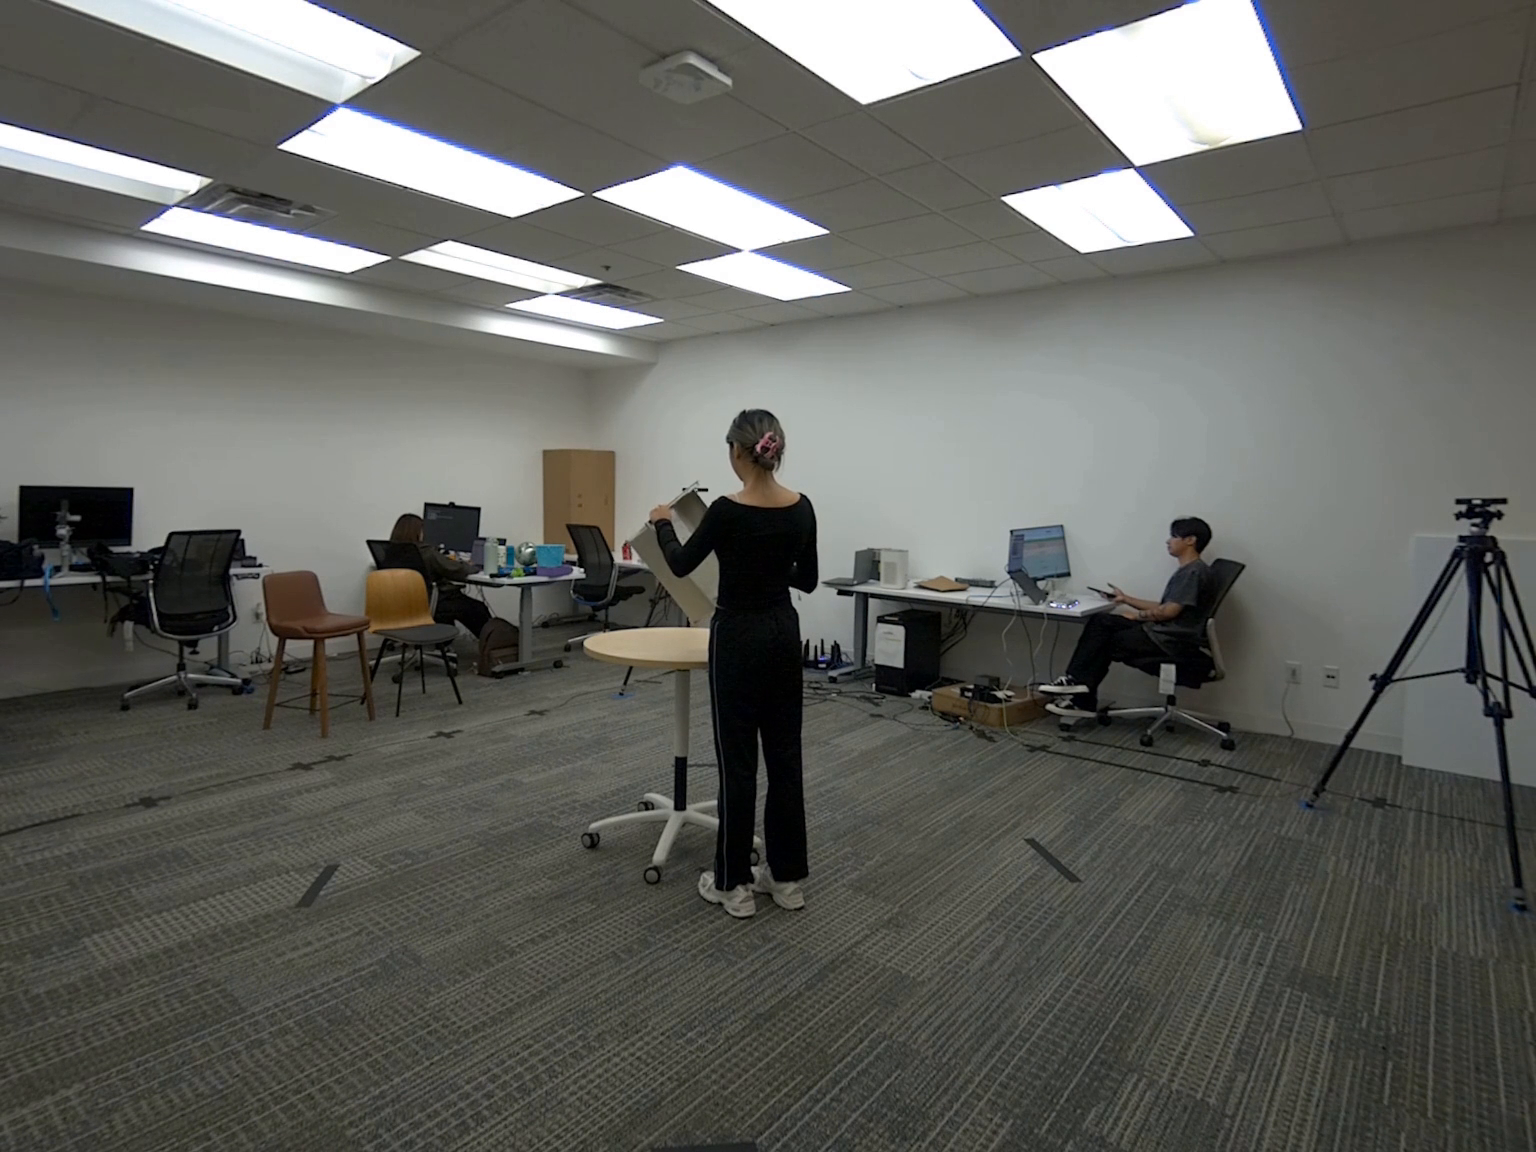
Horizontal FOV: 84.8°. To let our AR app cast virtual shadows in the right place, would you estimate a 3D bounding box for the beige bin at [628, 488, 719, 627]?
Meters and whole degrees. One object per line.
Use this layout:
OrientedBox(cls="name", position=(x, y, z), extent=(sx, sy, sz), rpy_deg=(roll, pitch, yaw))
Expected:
OrientedBox(cls="beige bin", position=(-0.272, -0.099, 3.219), extent=(0.191, 0.420, 0.376), rpy_deg=(-35, 6, 47))
